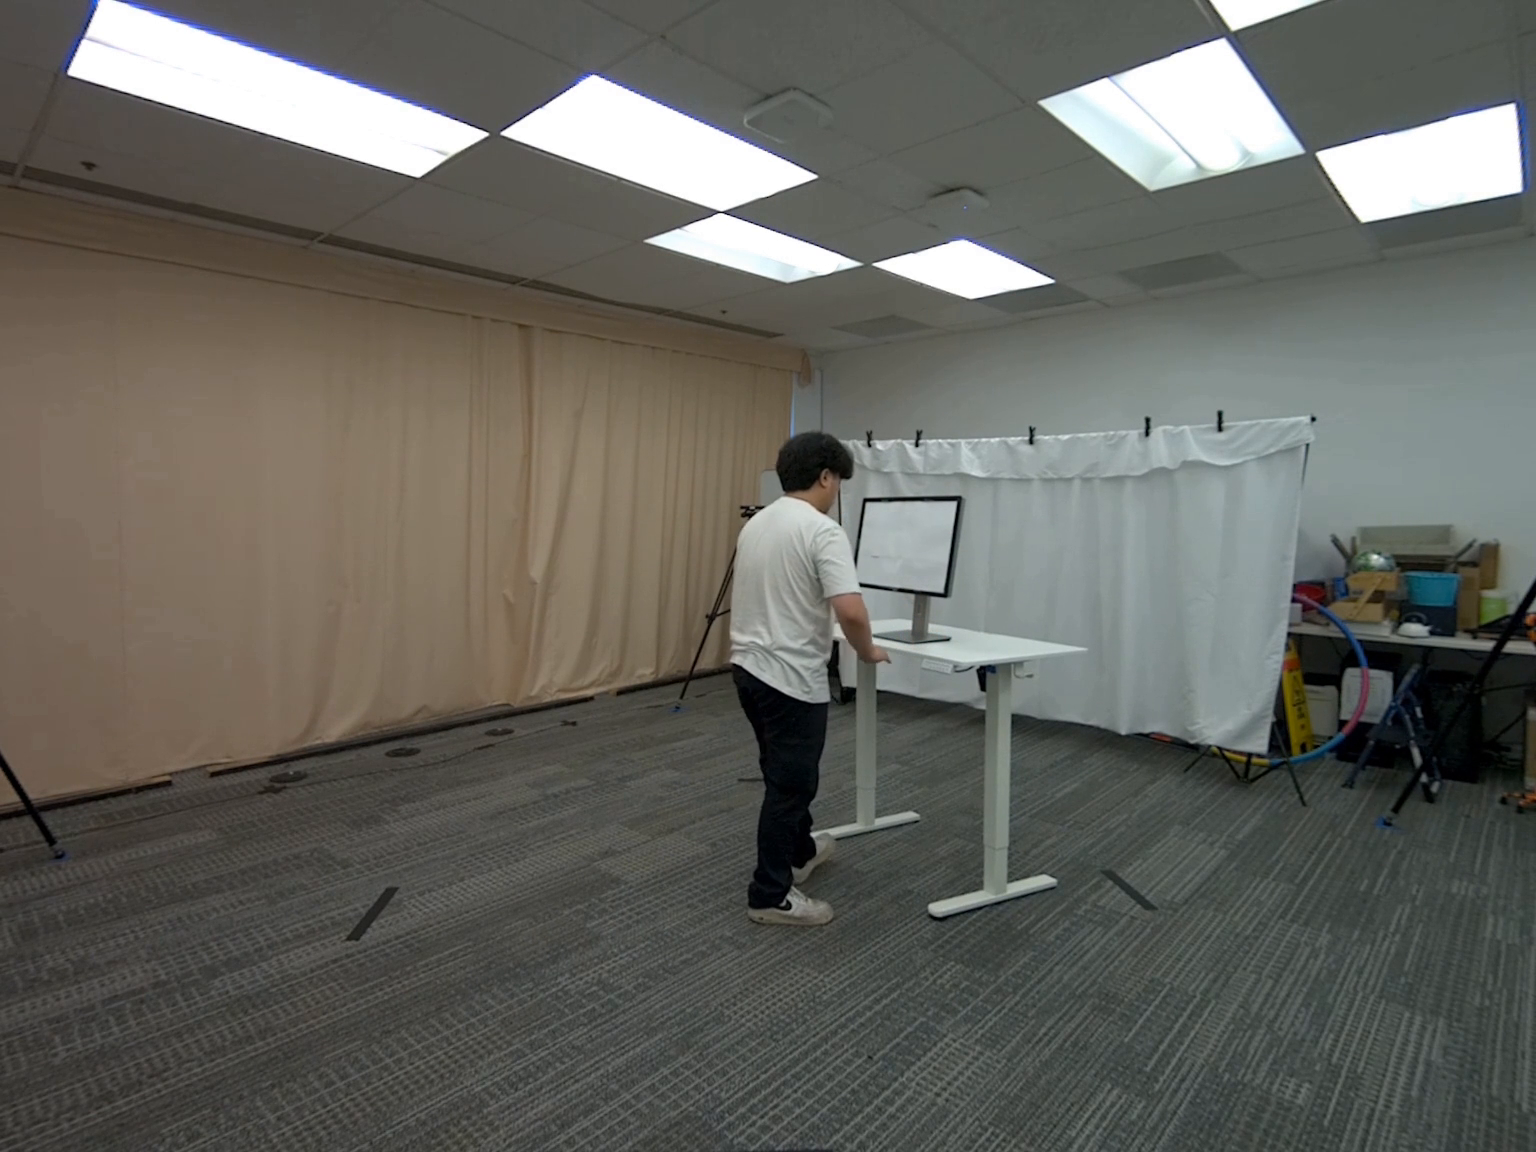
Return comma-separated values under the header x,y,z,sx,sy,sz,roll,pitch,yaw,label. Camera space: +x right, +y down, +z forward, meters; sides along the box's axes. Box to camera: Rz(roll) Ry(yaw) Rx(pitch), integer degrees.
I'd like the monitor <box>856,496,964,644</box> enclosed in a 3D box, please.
x,y,z,sx,sy,sz,roll,pitch,yaw,label
0.573,-0.026,3.224,0.204,0.554,0.582,3,1,-31,monitor
